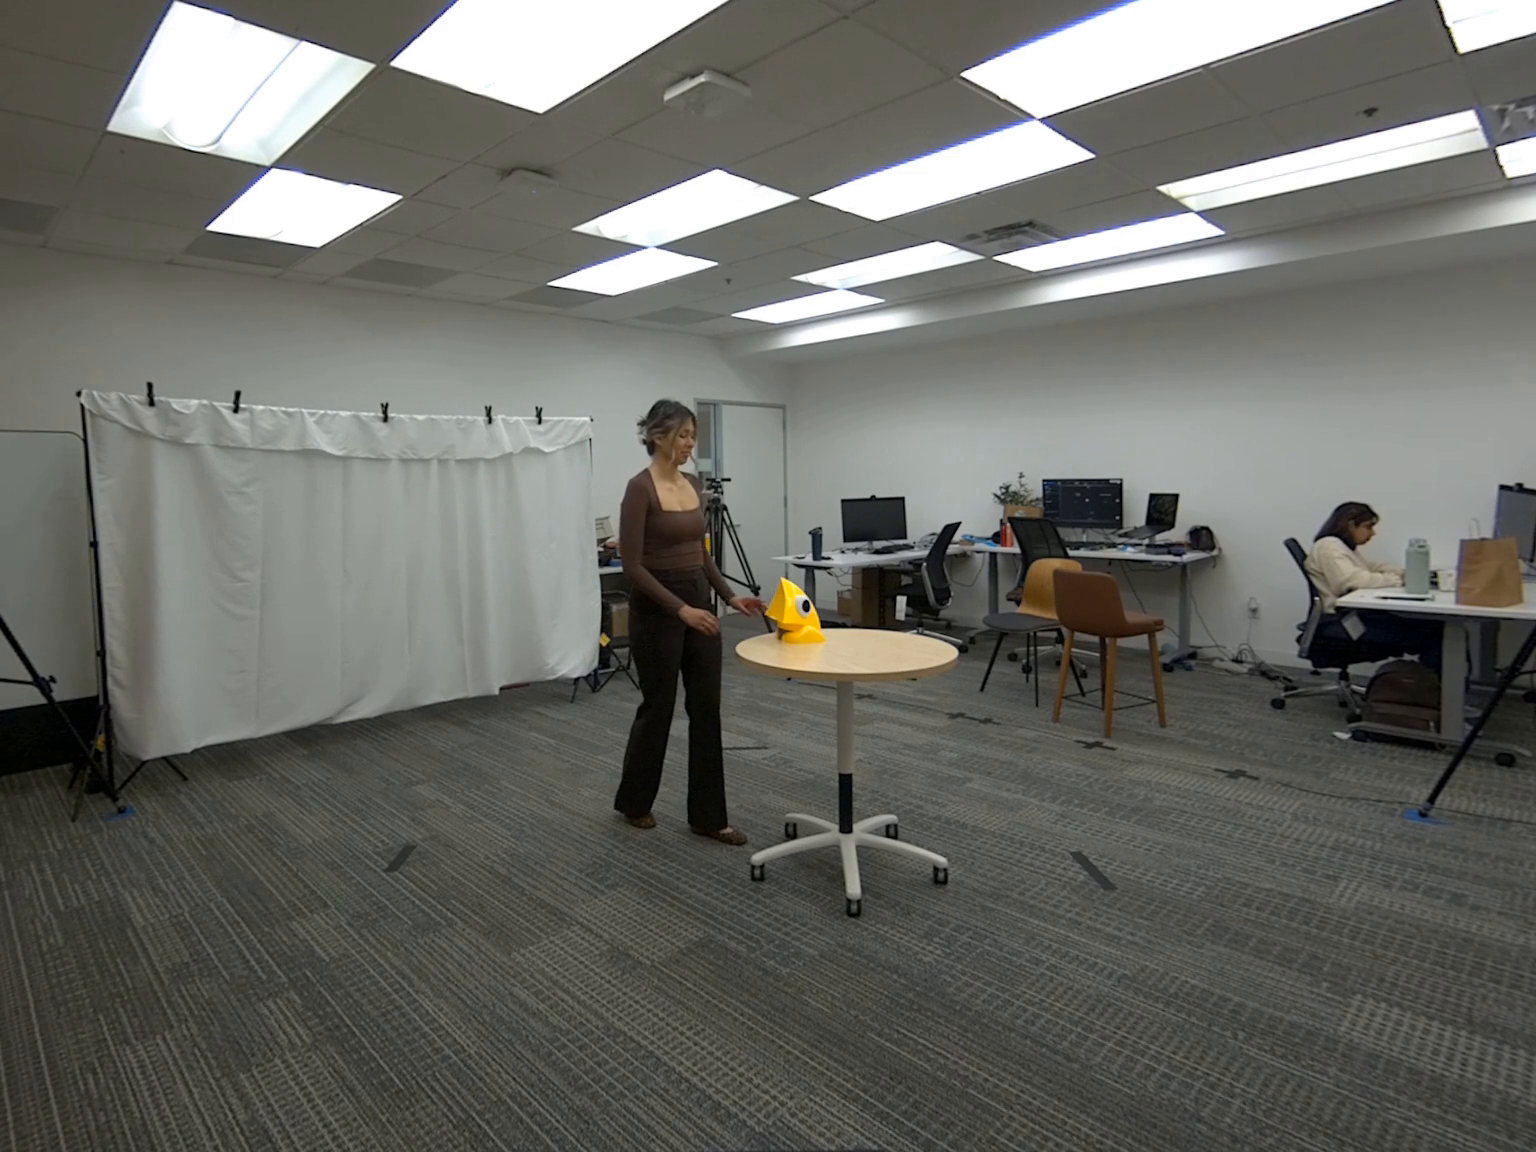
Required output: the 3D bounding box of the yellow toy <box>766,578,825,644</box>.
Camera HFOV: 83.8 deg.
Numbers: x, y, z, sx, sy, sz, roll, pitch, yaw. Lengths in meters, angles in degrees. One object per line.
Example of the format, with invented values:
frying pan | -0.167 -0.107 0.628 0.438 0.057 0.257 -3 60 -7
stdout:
yellow toy | 0.108 0.120 3.168 0.190 0.230 0.209 -2 5 -17
